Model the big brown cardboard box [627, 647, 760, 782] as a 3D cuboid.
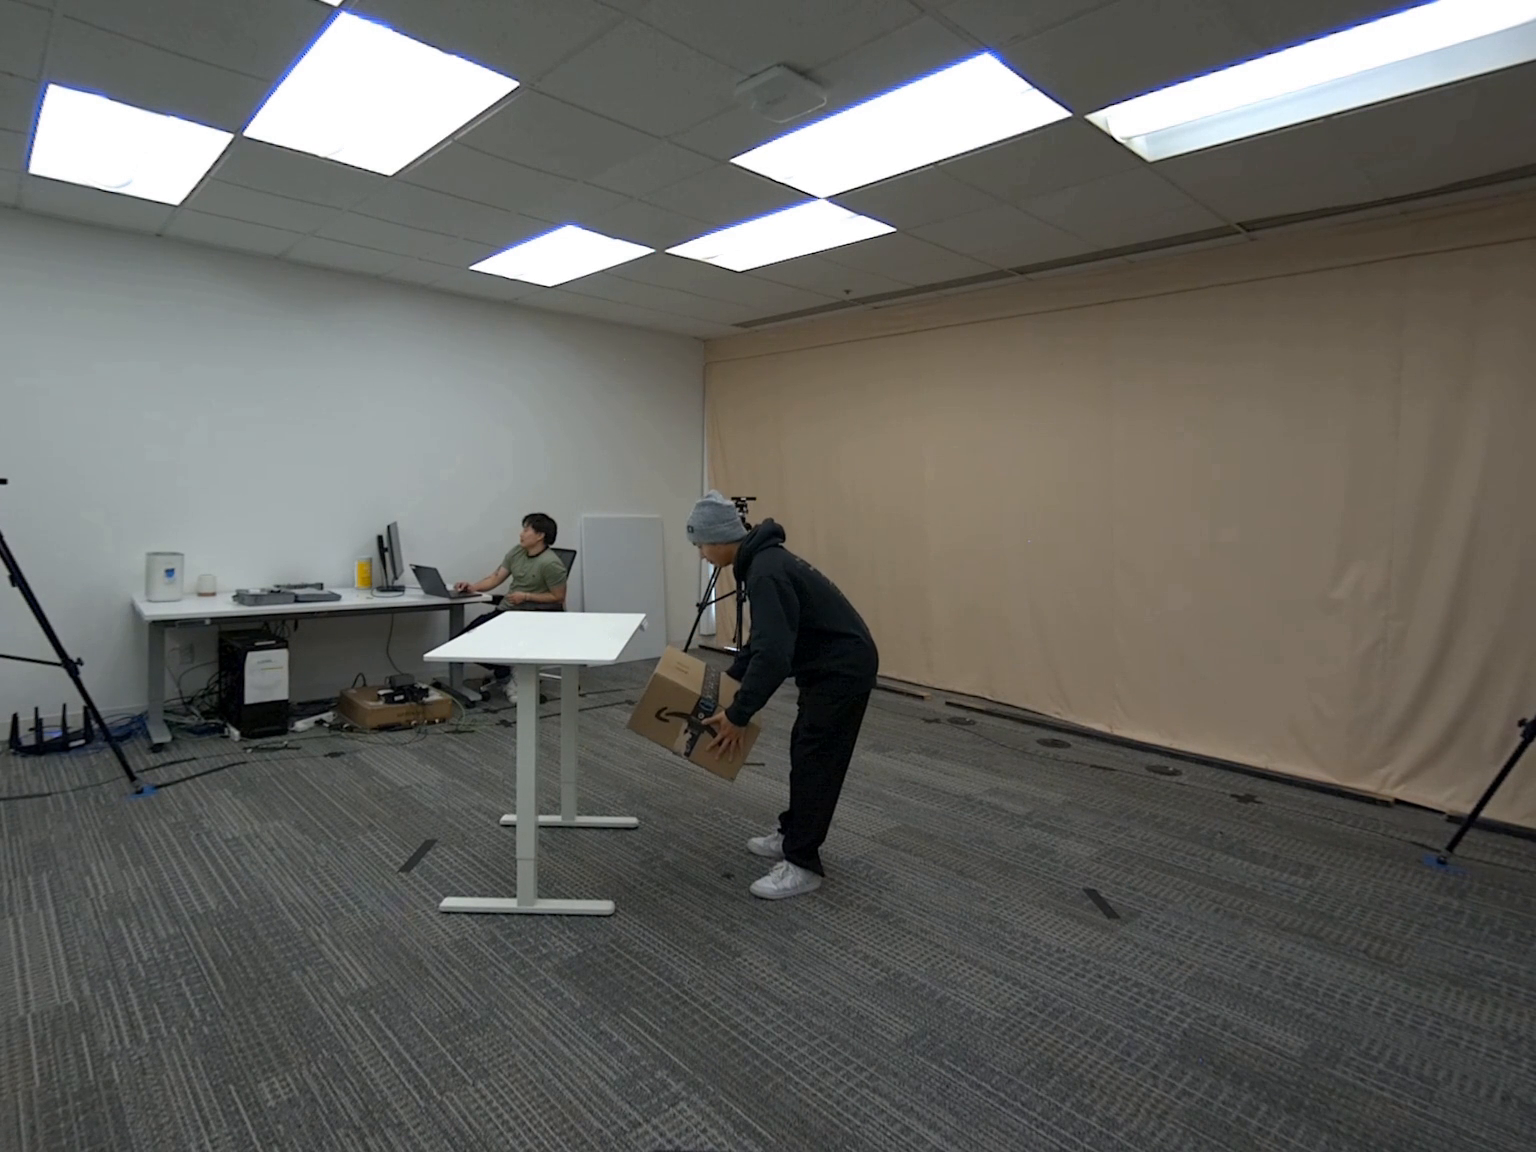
[{"bbox_3d":[-0.265,0.491,3.142,0.417,0.233,0.590,28,3,-3],"label":"big brown cardboard box"}]
